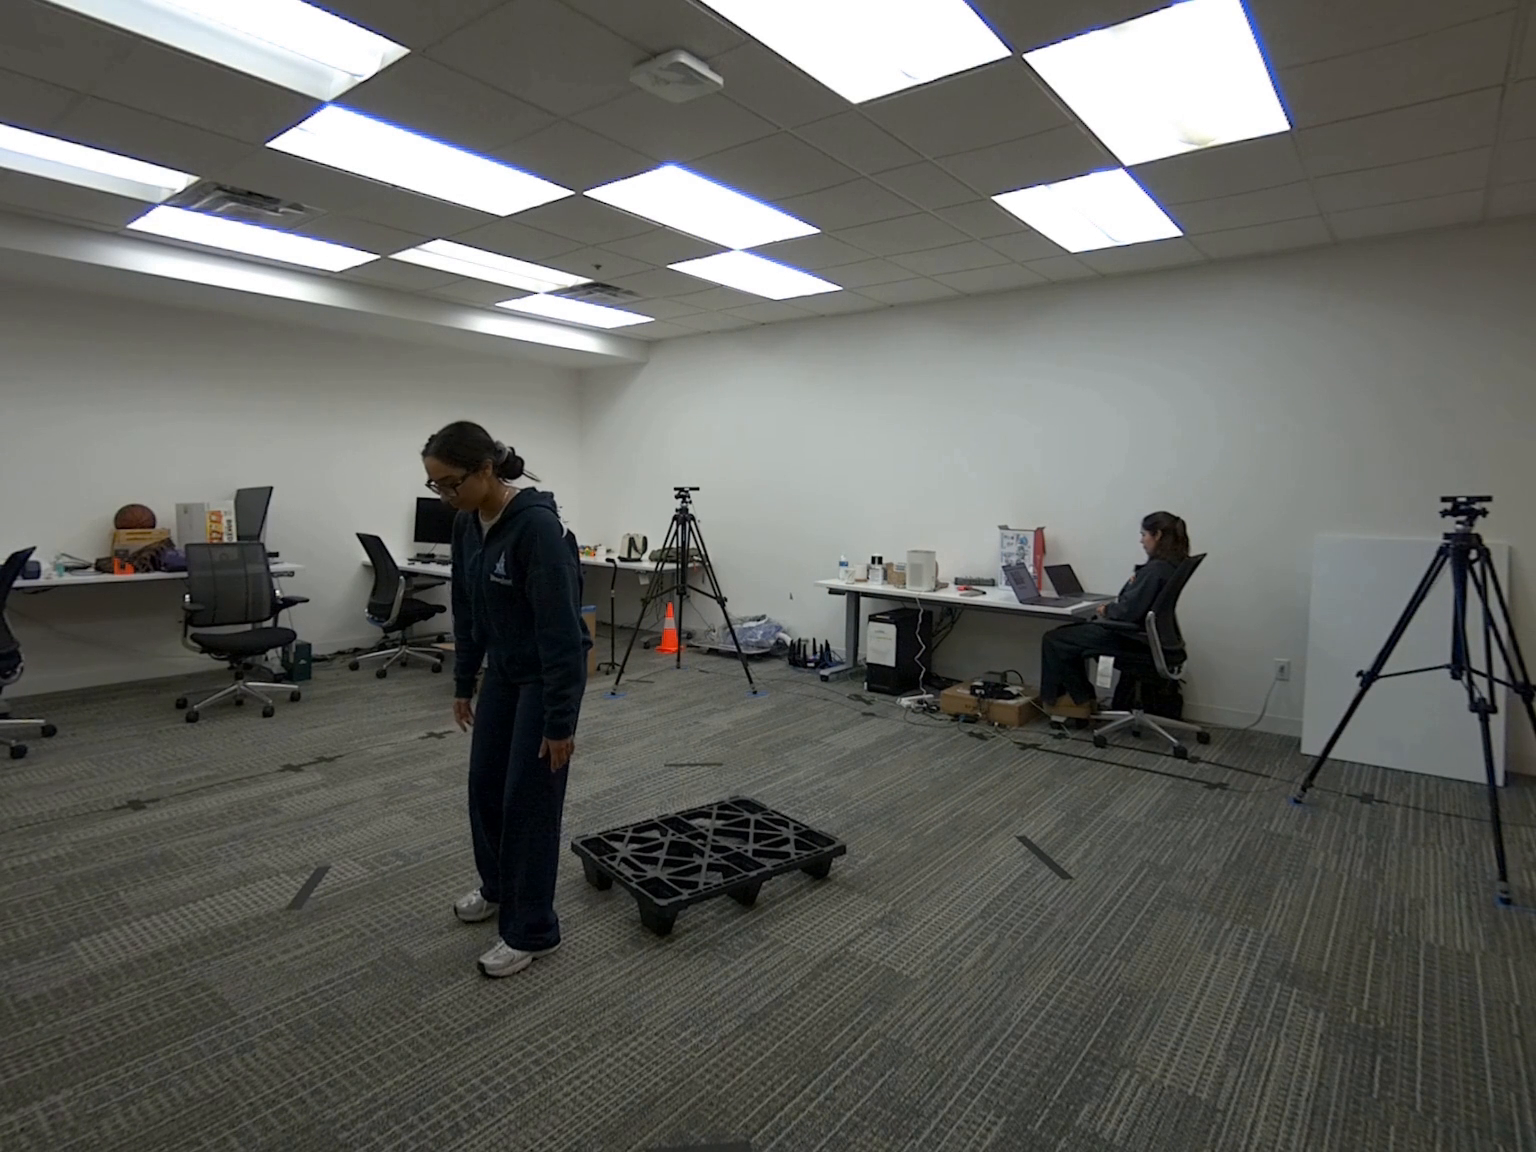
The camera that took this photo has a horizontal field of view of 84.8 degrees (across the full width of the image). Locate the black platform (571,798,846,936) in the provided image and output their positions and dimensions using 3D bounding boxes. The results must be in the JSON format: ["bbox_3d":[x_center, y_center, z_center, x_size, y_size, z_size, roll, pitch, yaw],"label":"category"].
[{"bbox_3d":[-0.215,1.008,3.029,0.782,0.143,0.626,-4,8,-39],"label":"black platform"}]
